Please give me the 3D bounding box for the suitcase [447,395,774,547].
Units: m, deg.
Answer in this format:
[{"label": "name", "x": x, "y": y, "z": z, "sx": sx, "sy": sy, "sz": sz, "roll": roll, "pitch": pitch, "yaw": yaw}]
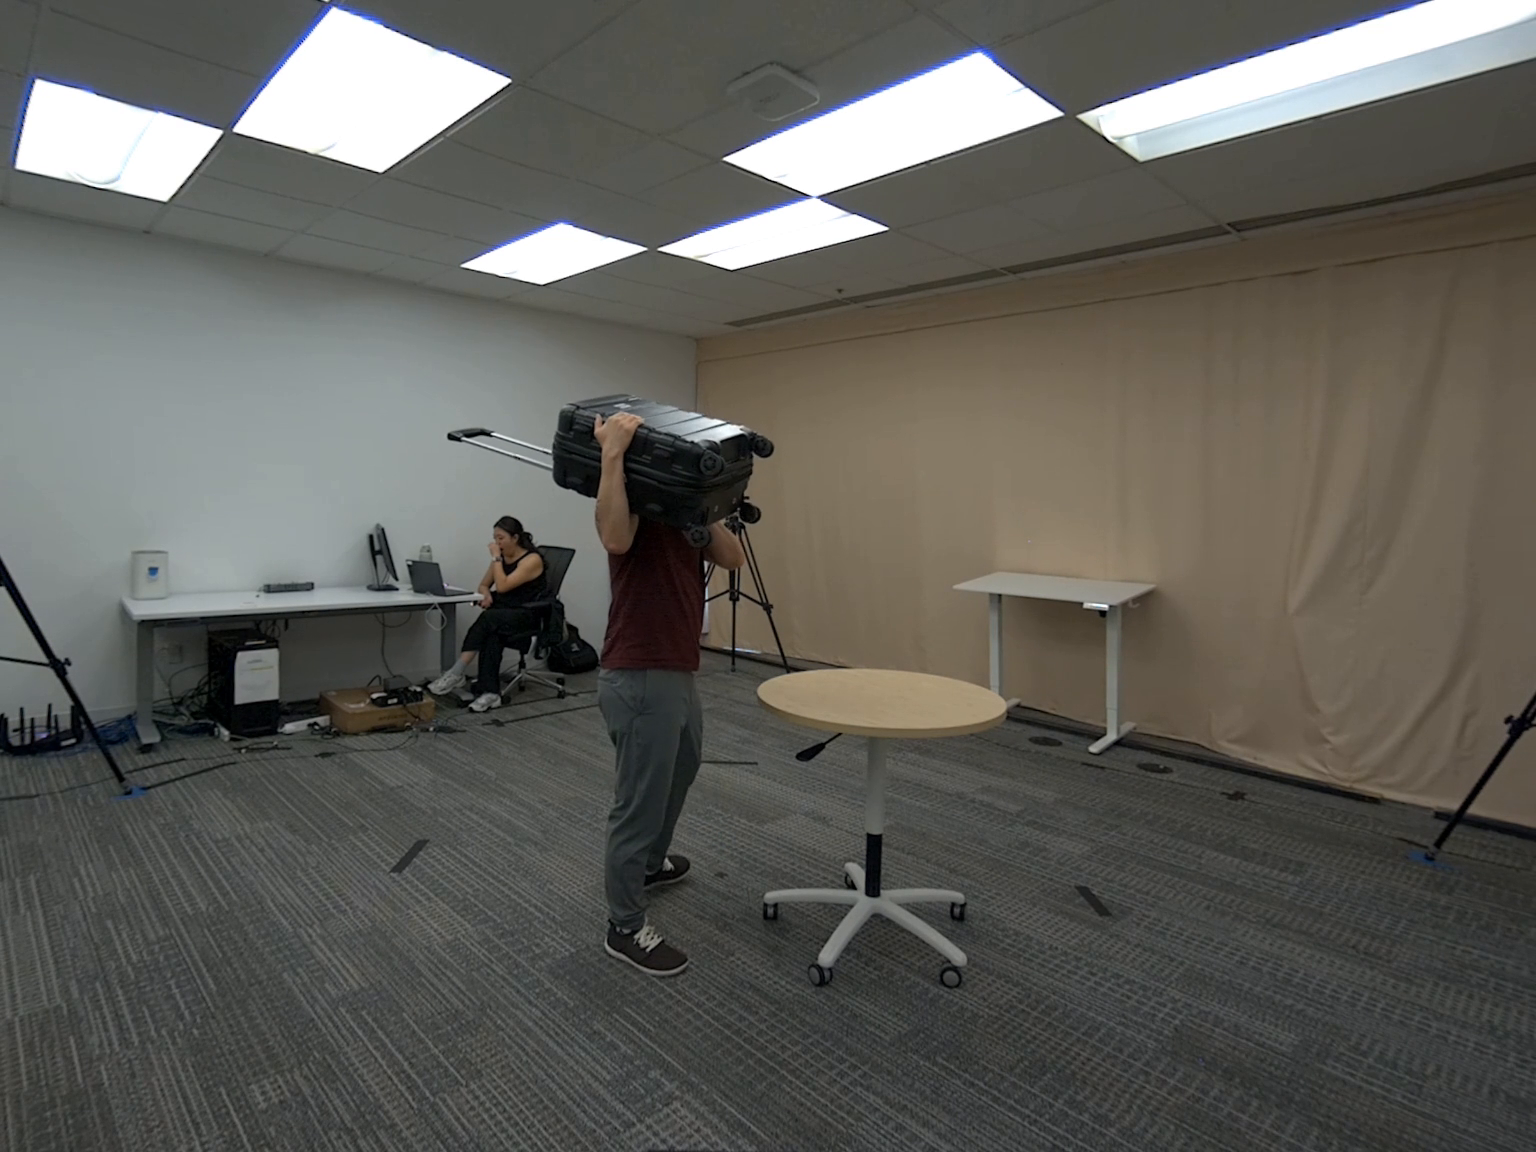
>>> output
[{"label": "suitcase", "x": -0.497, "y": -0.398, "z": 2.438, "sx": 0.998, "sy": 0.254, "sz": 0.381, "roll": 20, "pitch": 25, "yaw": 21}]
